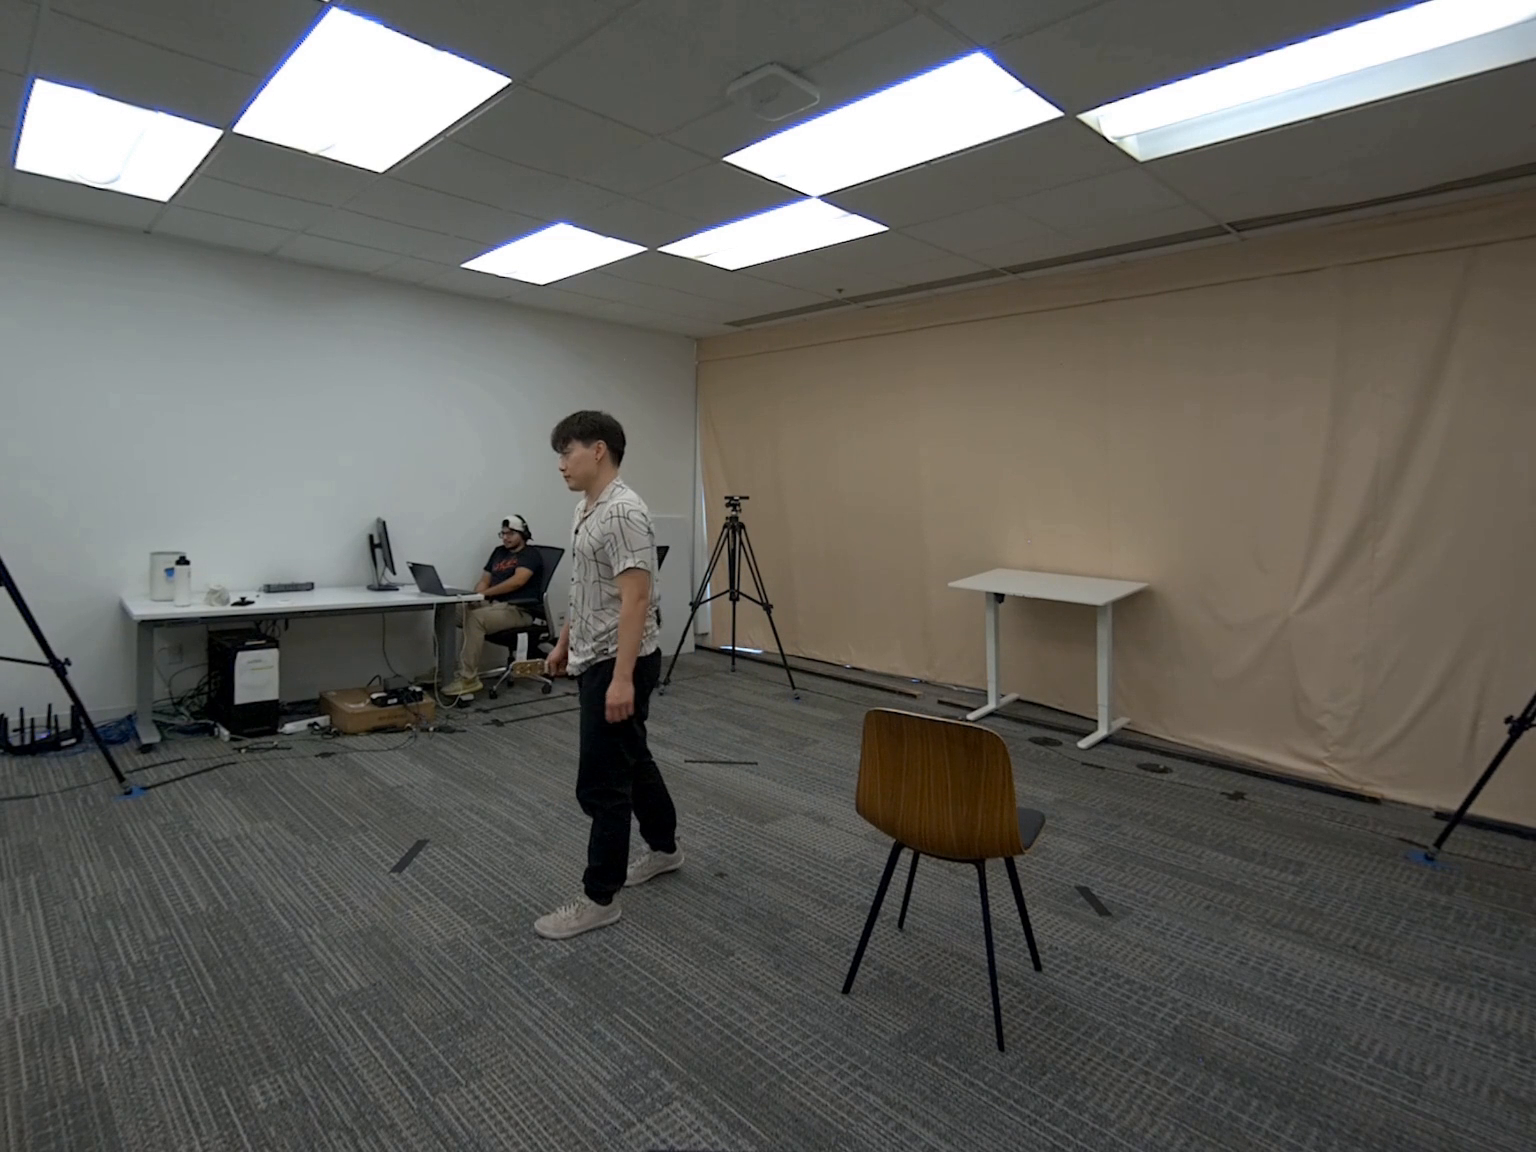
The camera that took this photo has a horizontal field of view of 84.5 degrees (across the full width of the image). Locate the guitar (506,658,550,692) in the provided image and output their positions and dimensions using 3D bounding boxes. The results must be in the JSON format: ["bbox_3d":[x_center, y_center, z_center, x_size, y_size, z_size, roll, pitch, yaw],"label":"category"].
[{"bbox_3d":[-0.695,0.296,3.122,0.489,0.192,0.072,7,4,-22],"label":"guitar"}]
